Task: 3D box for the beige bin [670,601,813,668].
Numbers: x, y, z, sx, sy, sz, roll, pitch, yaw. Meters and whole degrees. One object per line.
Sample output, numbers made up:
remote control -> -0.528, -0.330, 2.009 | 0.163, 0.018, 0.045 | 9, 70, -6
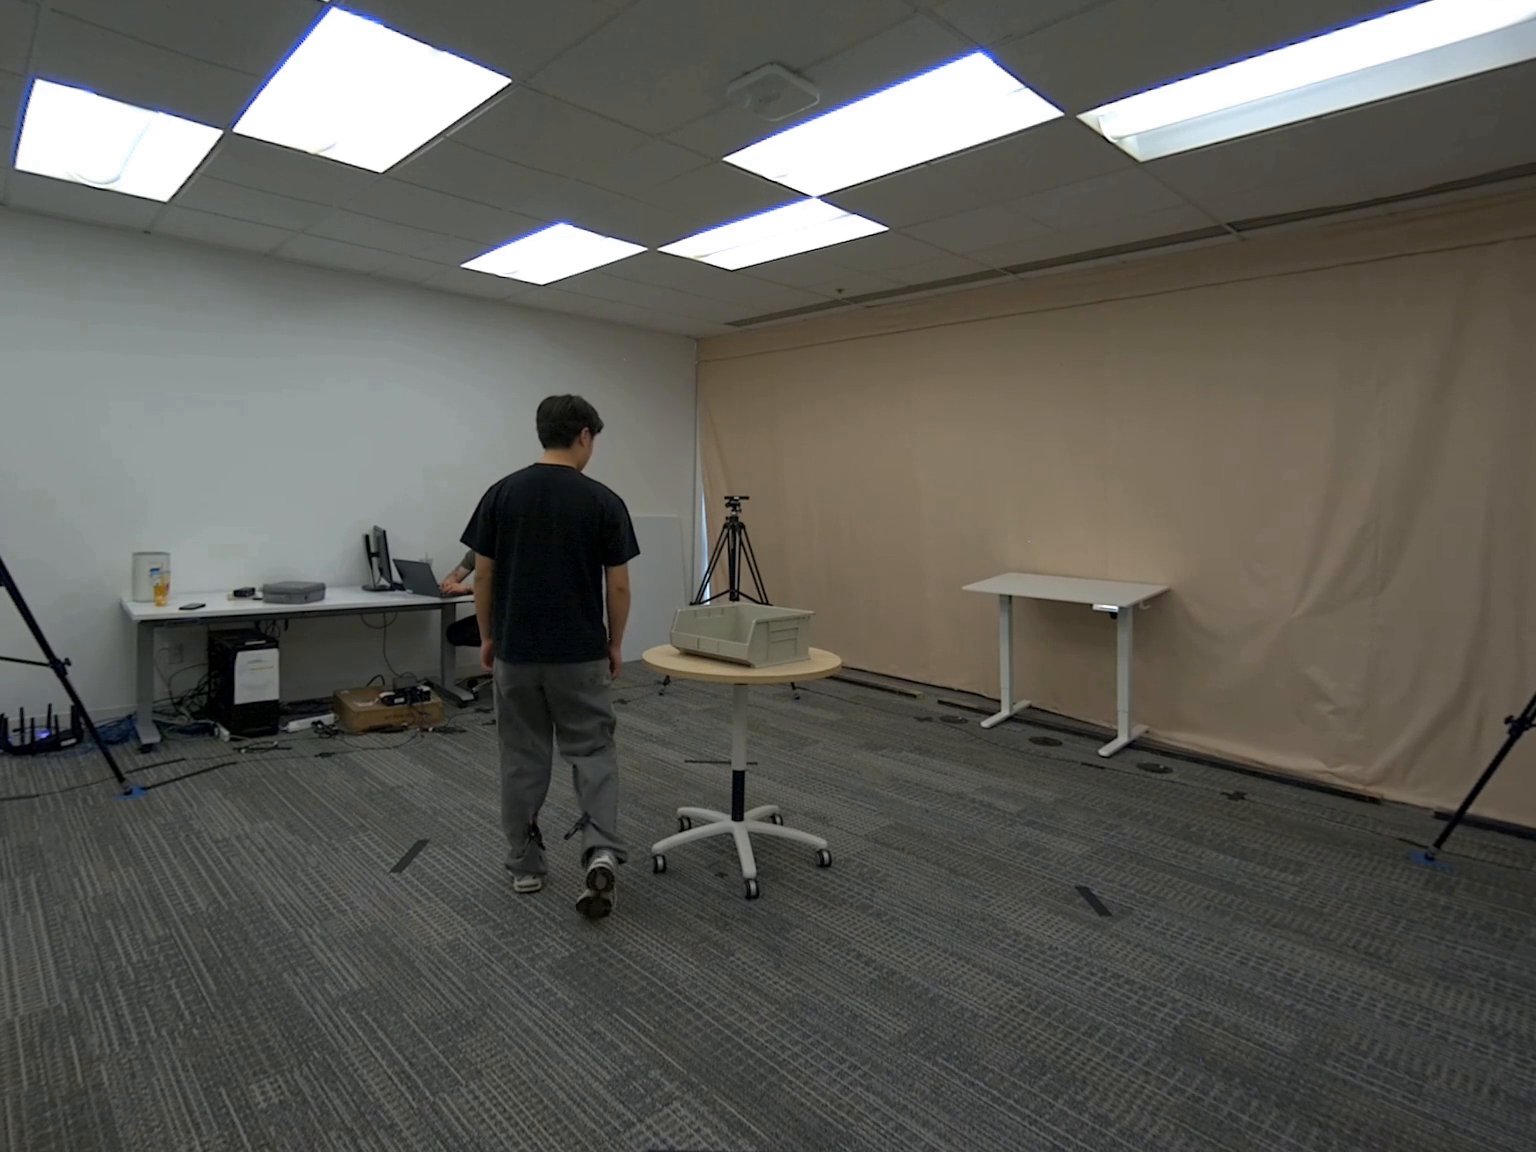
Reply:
beige bin -> -0.108, 0.223, 3.230 | 0.433, 0.189, 0.368 | 5, 4, 42
